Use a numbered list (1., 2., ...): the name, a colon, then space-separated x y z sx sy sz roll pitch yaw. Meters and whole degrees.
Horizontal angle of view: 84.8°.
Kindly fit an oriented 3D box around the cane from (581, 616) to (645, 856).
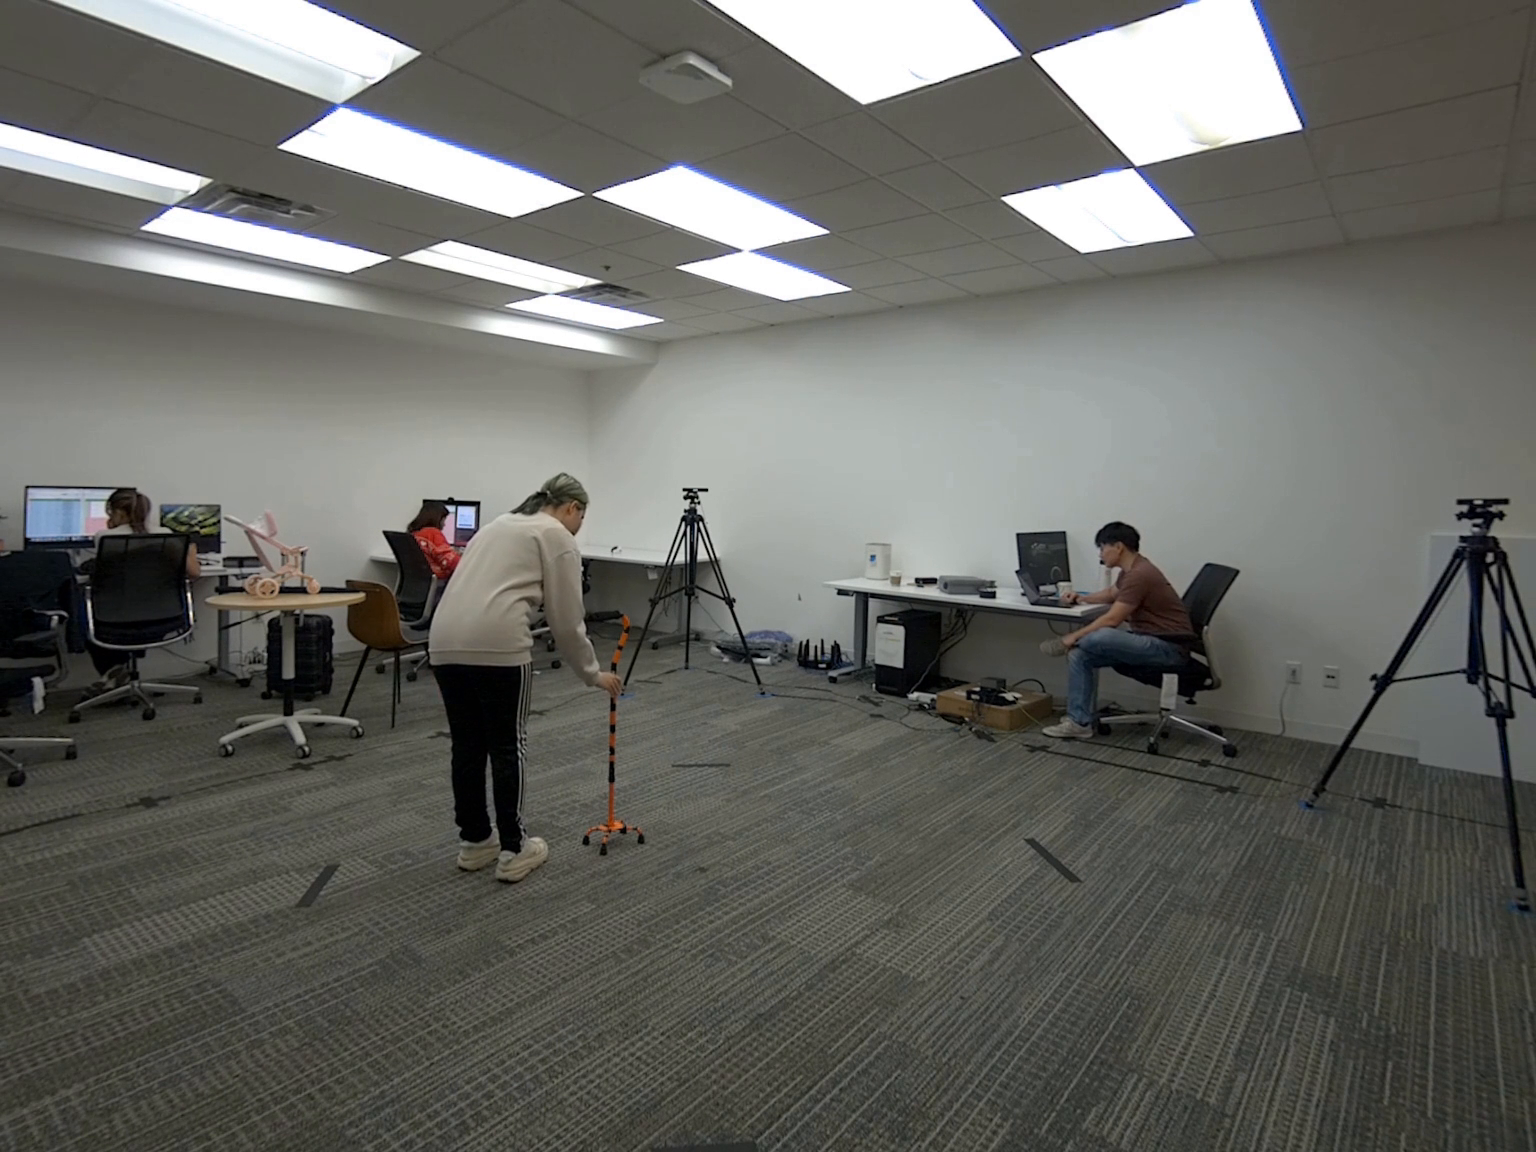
1. cane: -0.600 0.591 3.310 0.200 0.906 0.157 1 3 -41
